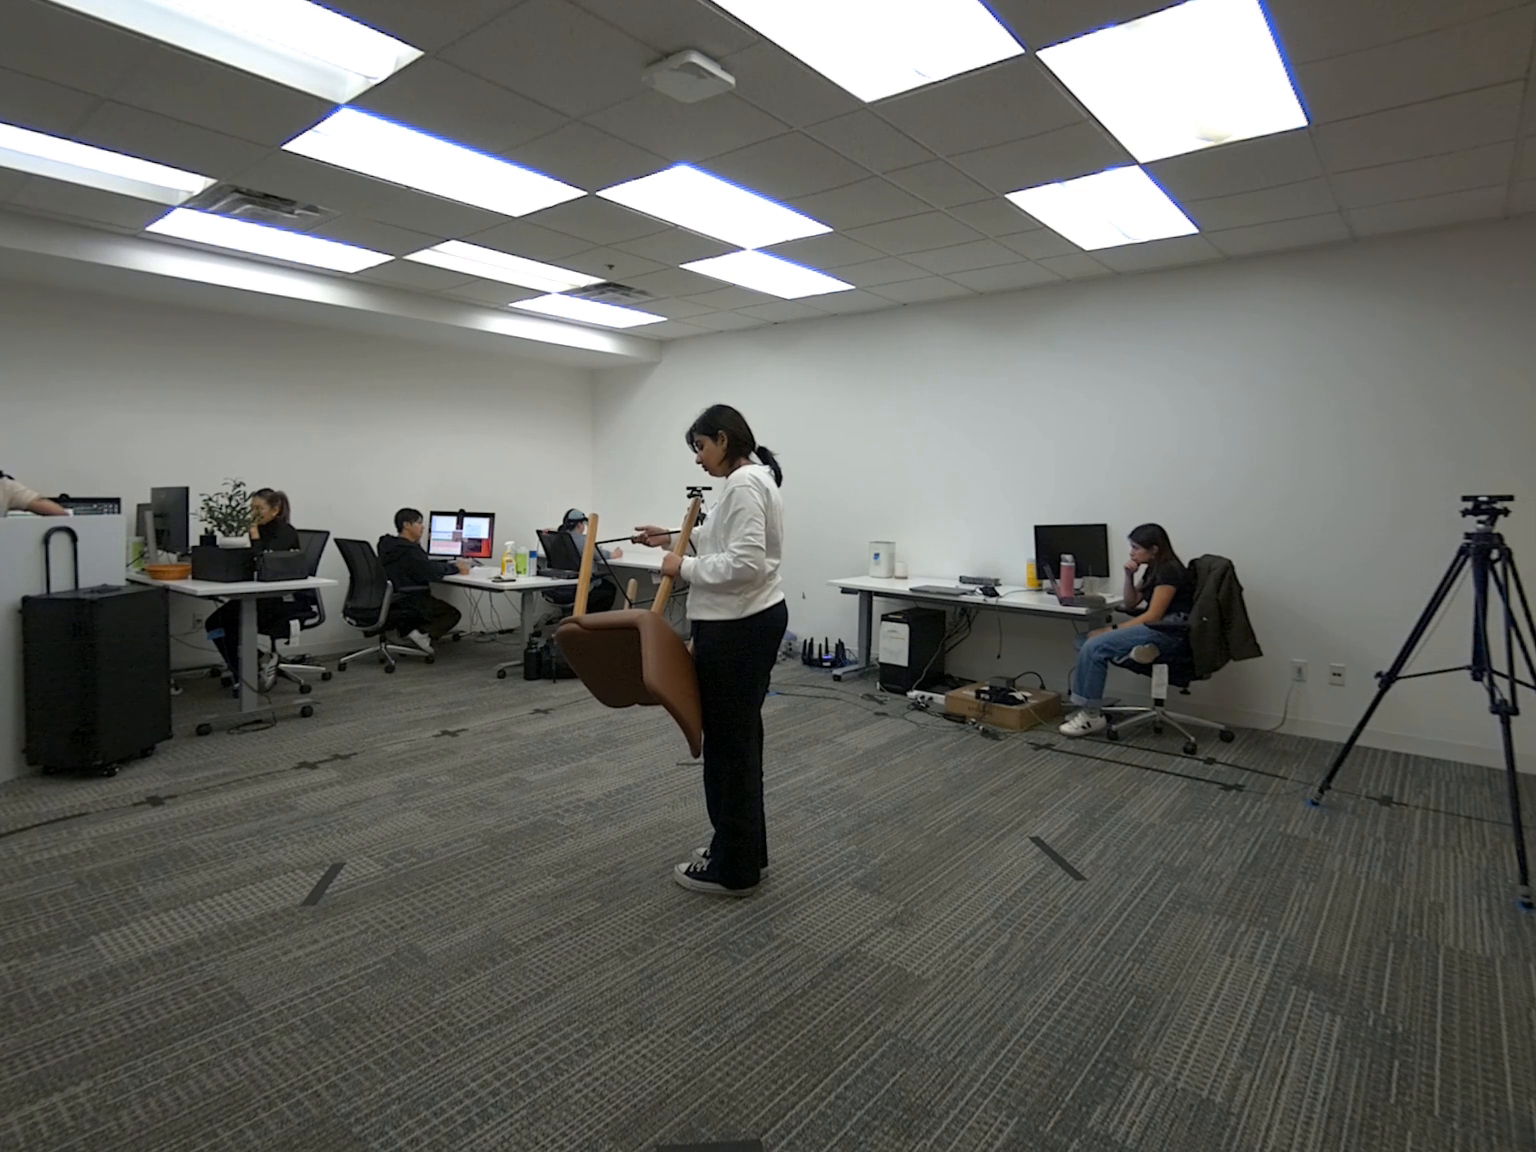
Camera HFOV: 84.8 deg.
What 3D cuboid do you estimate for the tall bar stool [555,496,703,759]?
[{"bbox_3d":[-0.444,0.184,2.986,0.474,0.439,0.912,-11,42,16],"label":"tall bar stool"}]
